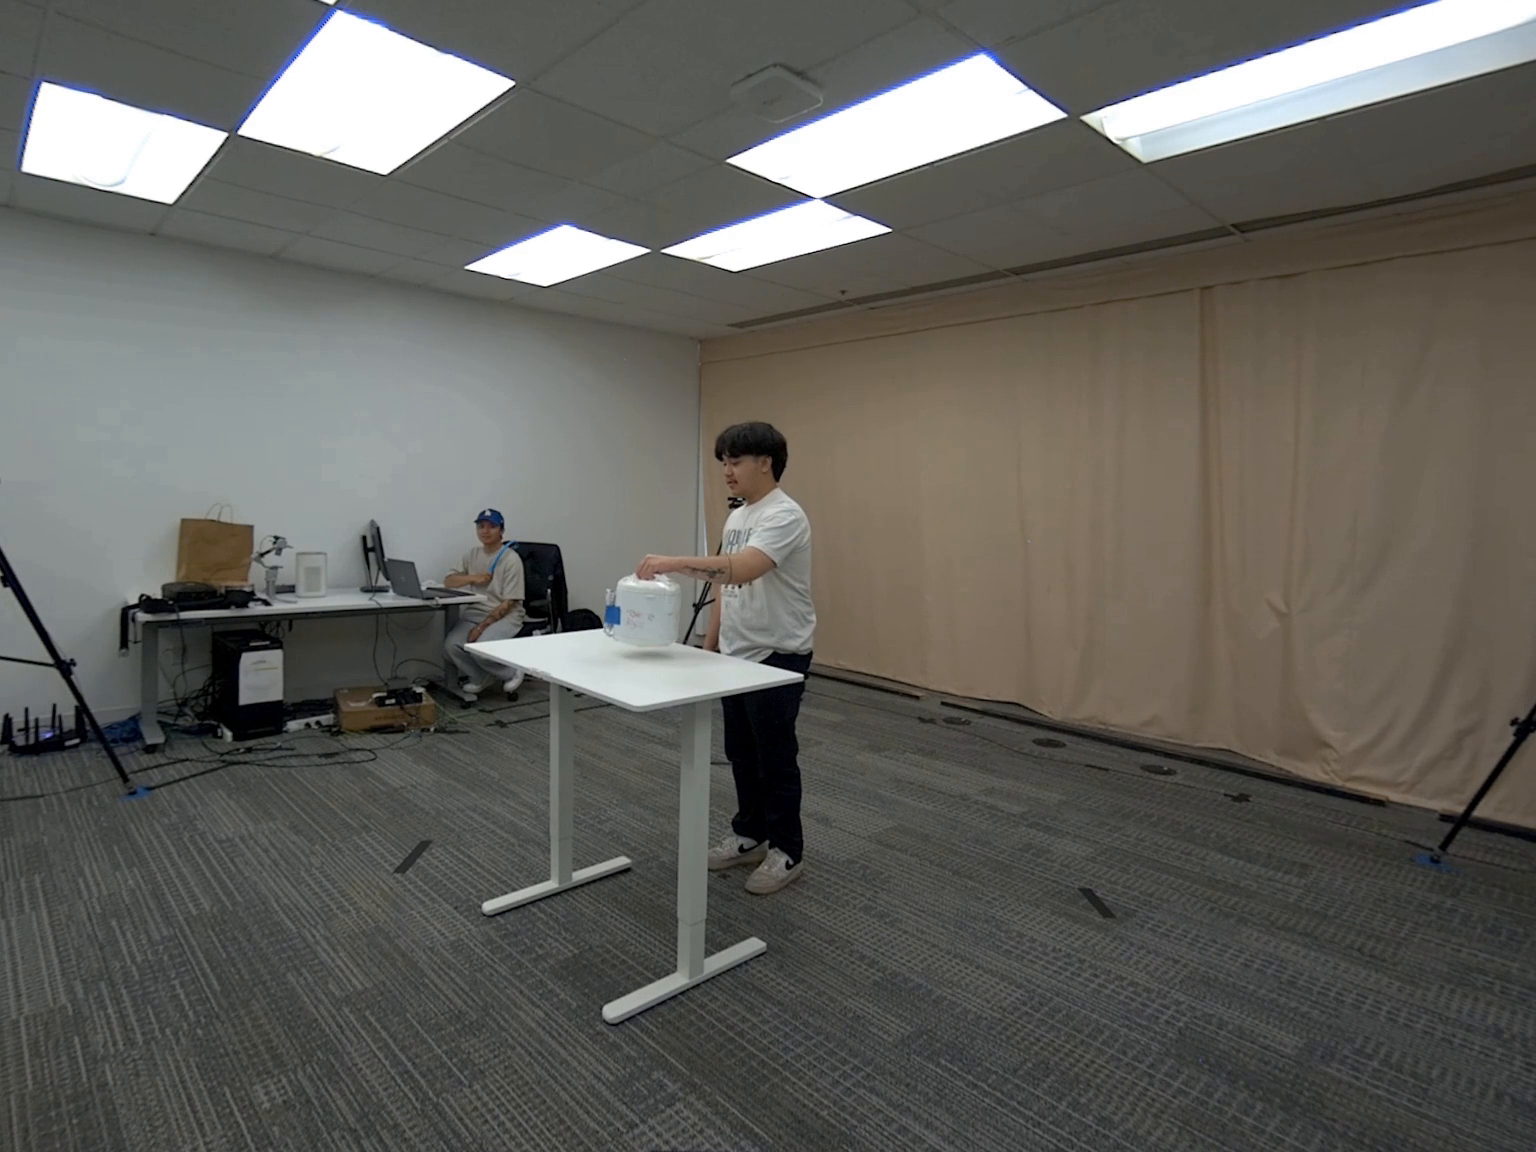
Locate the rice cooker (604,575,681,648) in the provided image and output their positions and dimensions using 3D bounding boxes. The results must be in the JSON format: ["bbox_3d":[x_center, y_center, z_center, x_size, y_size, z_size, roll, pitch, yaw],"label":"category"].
[{"bbox_3d":[-0.391,0.099,2.687,0.226,0.232,0.212,9,6,42],"label":"rice cooker"}]
